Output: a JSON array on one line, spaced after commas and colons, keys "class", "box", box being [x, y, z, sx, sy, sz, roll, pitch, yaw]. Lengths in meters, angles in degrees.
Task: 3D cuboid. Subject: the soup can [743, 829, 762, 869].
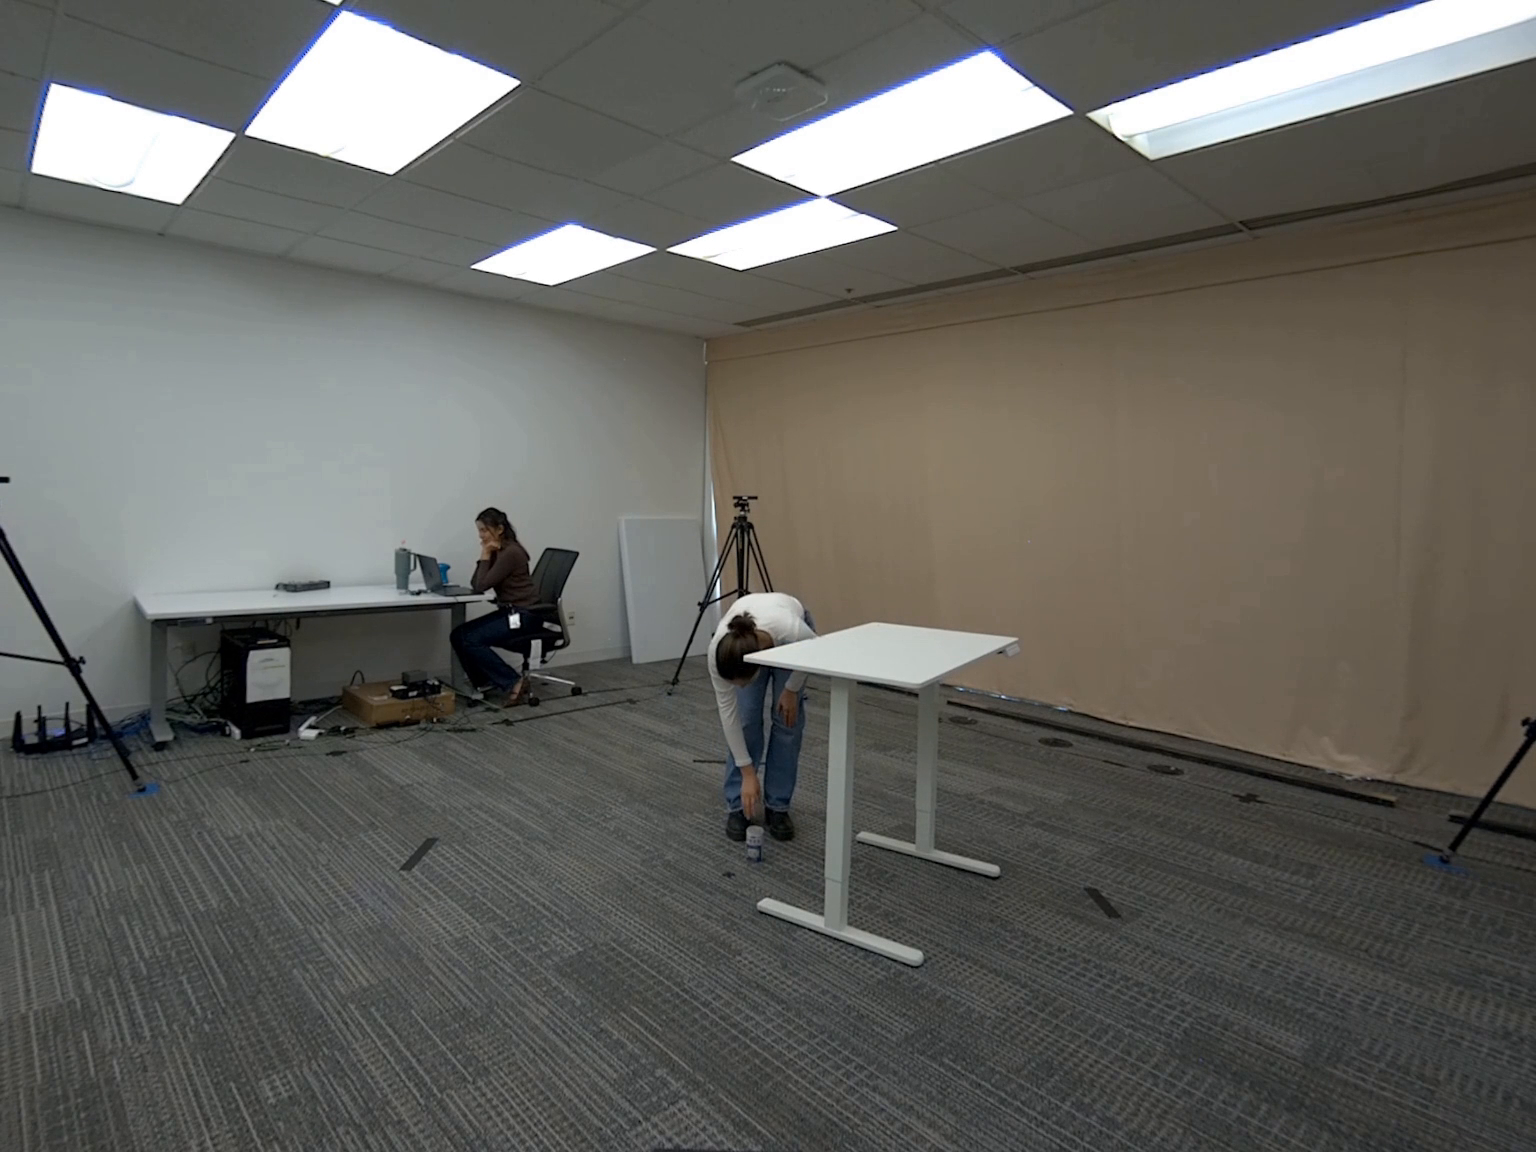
[{"class": "soup can", "box": [-0.062, 1.043, 3.238, 0.067, 0.121, 0.067, -1, 4, -1]}]
